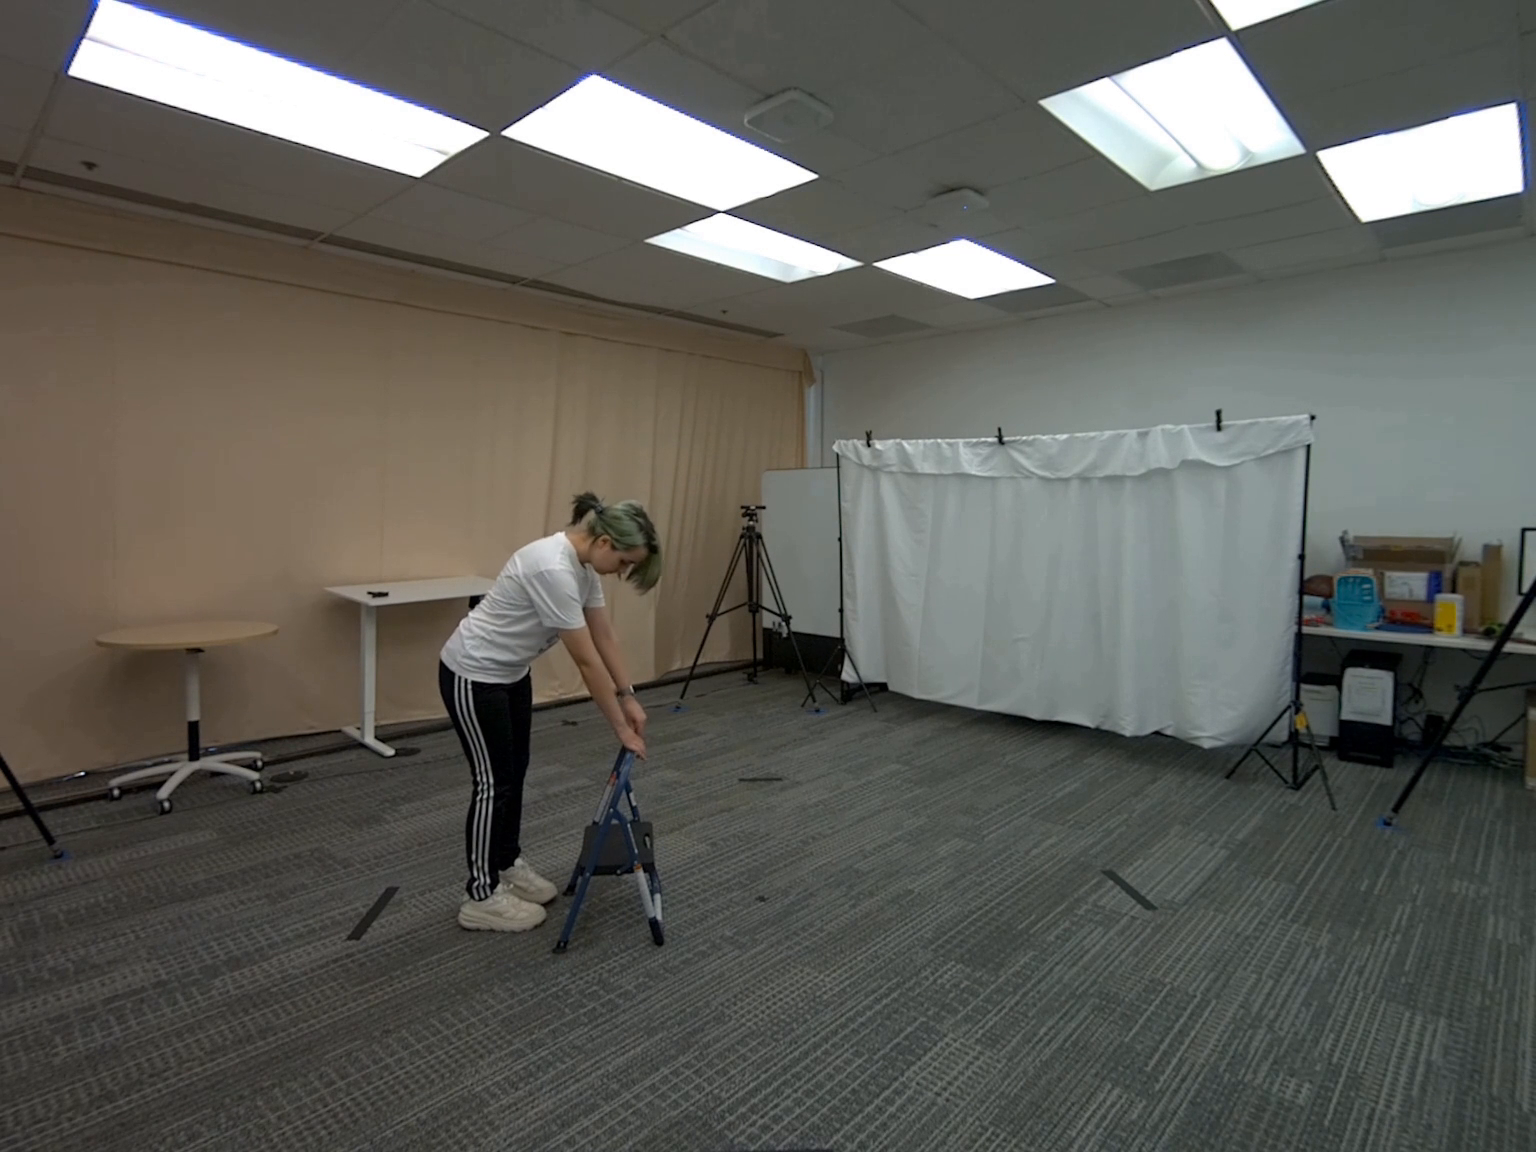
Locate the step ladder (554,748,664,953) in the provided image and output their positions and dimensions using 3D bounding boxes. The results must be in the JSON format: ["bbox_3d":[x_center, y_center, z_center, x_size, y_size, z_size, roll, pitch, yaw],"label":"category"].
[{"bbox_3d":[-0.531,0.868,2.830,0.347,0.605,0.434,0,3,-7],"label":"step ladder"}]
